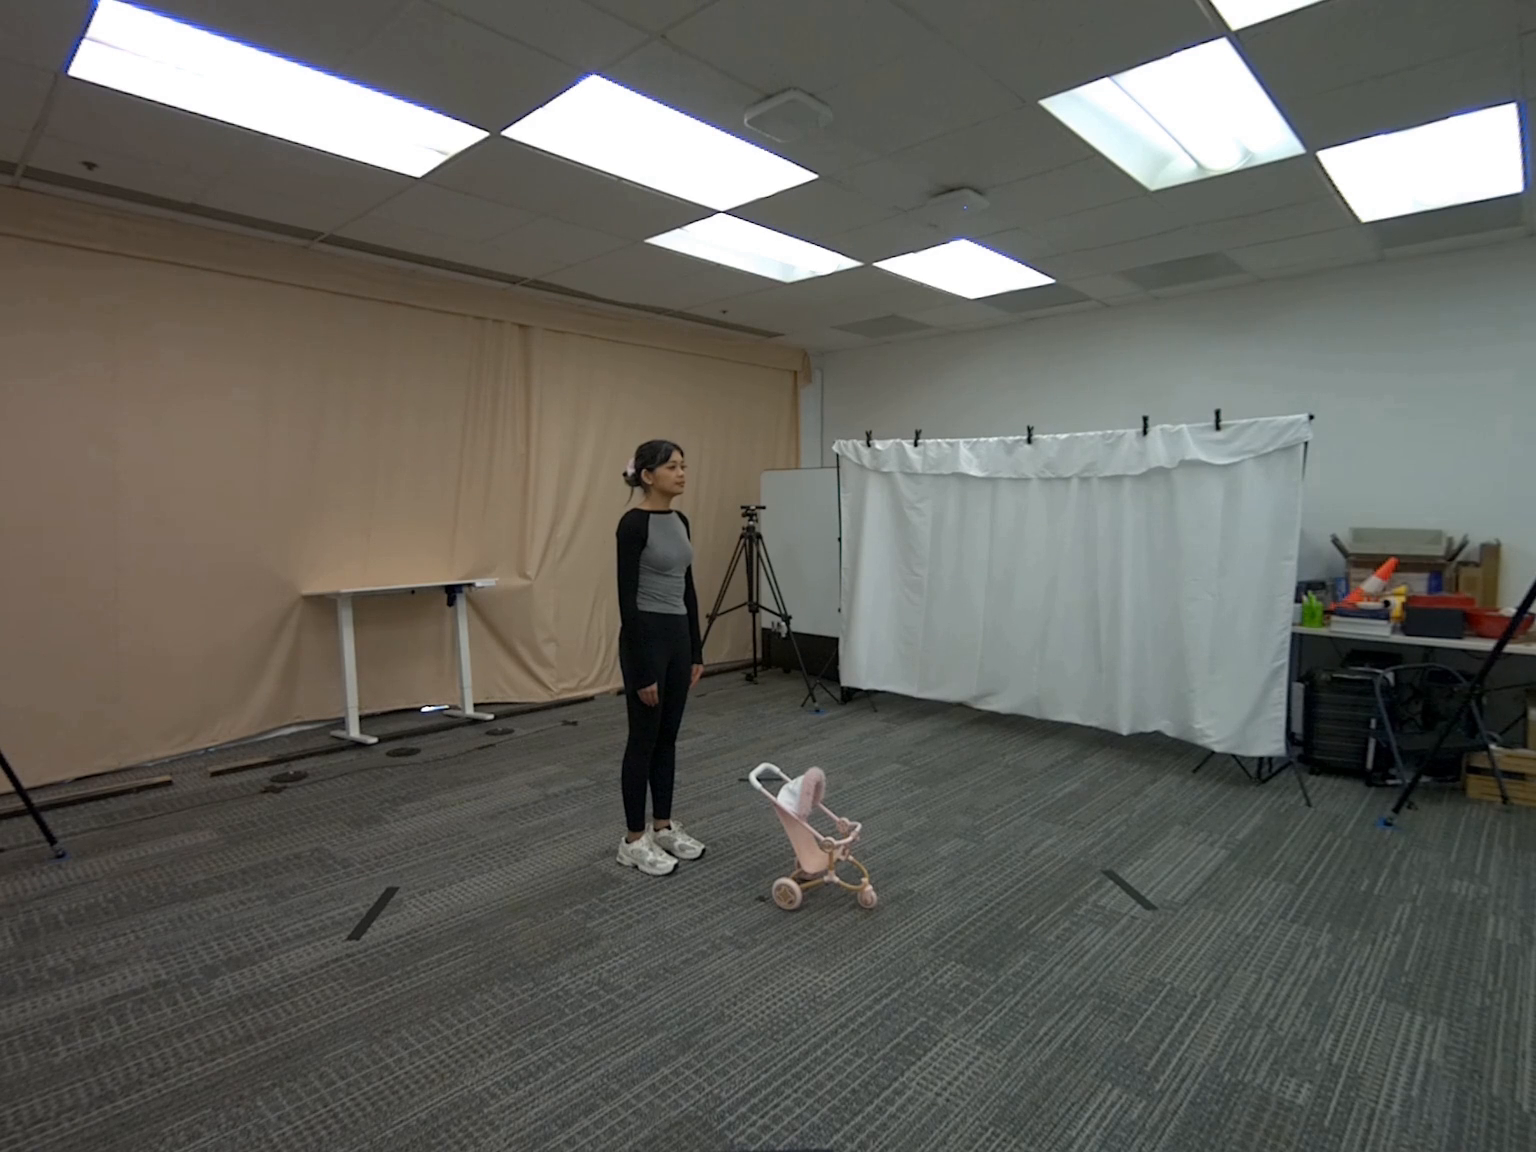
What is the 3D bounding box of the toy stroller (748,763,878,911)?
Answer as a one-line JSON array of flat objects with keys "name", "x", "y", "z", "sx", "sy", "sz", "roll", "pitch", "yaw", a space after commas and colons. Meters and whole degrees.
[{"name": "toy stroller", "x": 0.172, "y": 0.918, "z": 2.975, "sx": 0.349, "sy": 0.537, "sz": 0.274, "roll": -15, "pitch": -4, "yaw": 27}]
